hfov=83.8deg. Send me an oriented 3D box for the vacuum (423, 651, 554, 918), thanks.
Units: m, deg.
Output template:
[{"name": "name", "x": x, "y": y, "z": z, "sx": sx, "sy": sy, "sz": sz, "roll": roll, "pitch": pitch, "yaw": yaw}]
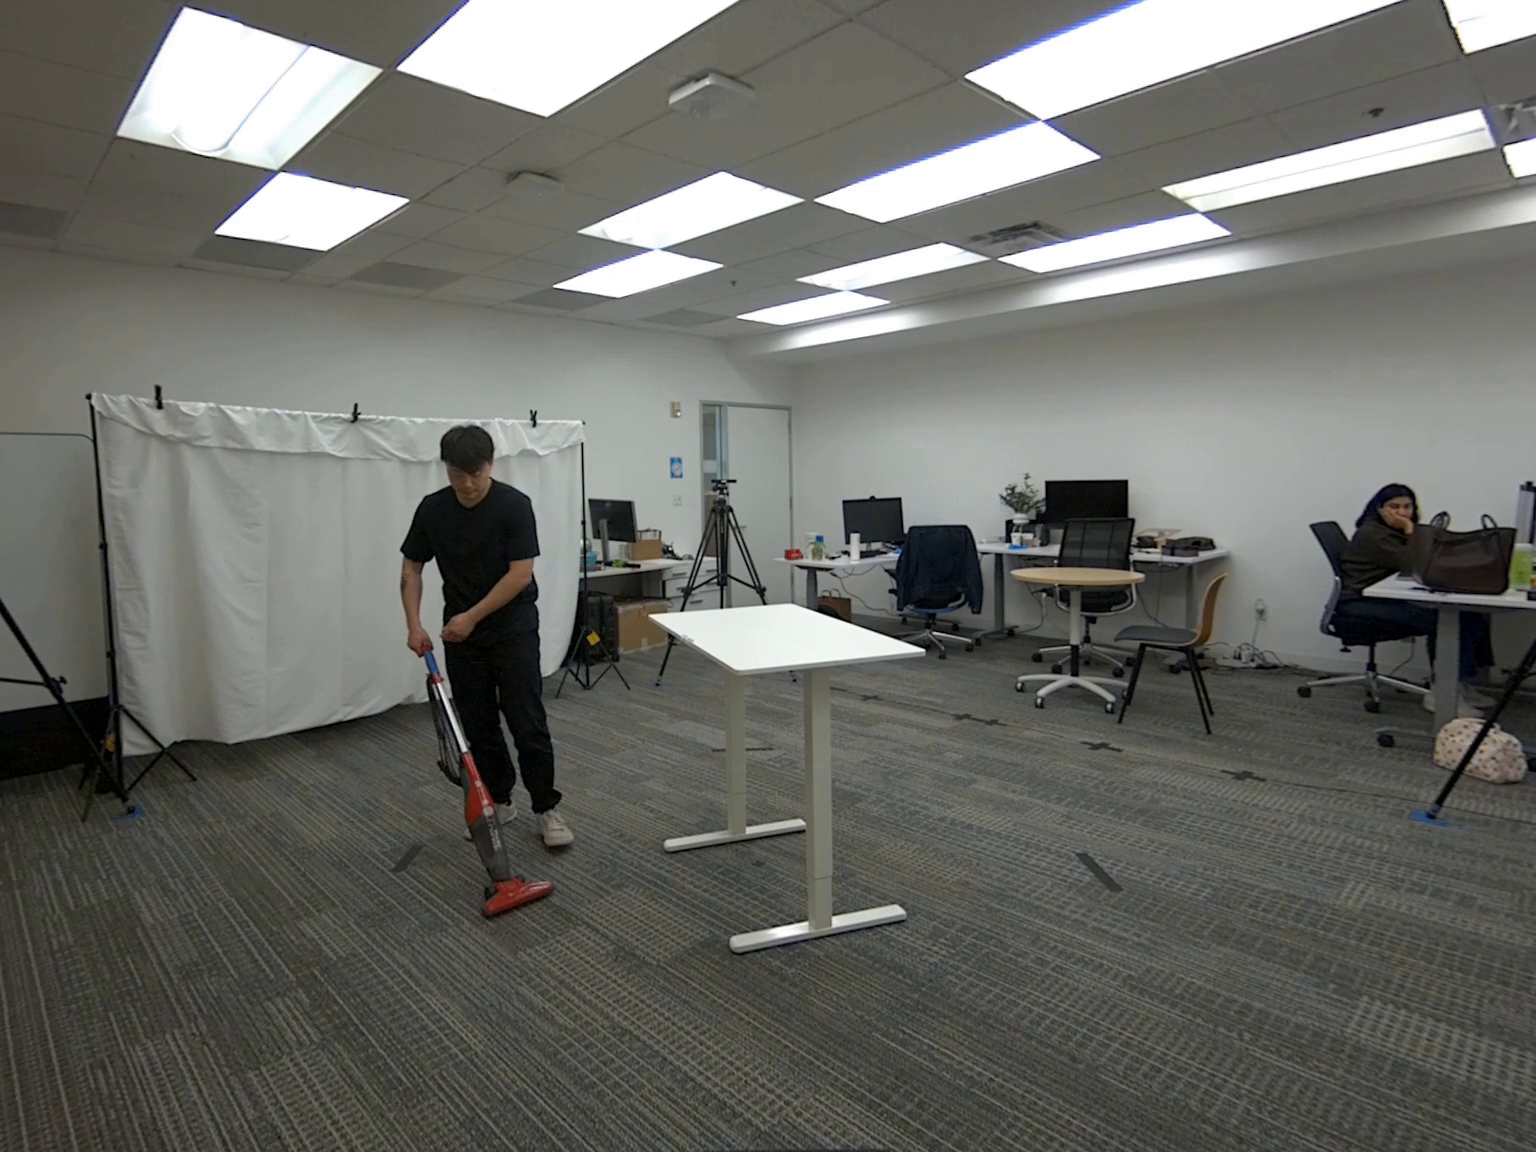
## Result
[{"name": "vacuum", "x": -1.108, "y": 0.679, "z": 3.094, "sx": 0.246, "sy": 1.083, "sz": 0.143, "roll": -4, "pitch": -39, "yaw": -44}]
